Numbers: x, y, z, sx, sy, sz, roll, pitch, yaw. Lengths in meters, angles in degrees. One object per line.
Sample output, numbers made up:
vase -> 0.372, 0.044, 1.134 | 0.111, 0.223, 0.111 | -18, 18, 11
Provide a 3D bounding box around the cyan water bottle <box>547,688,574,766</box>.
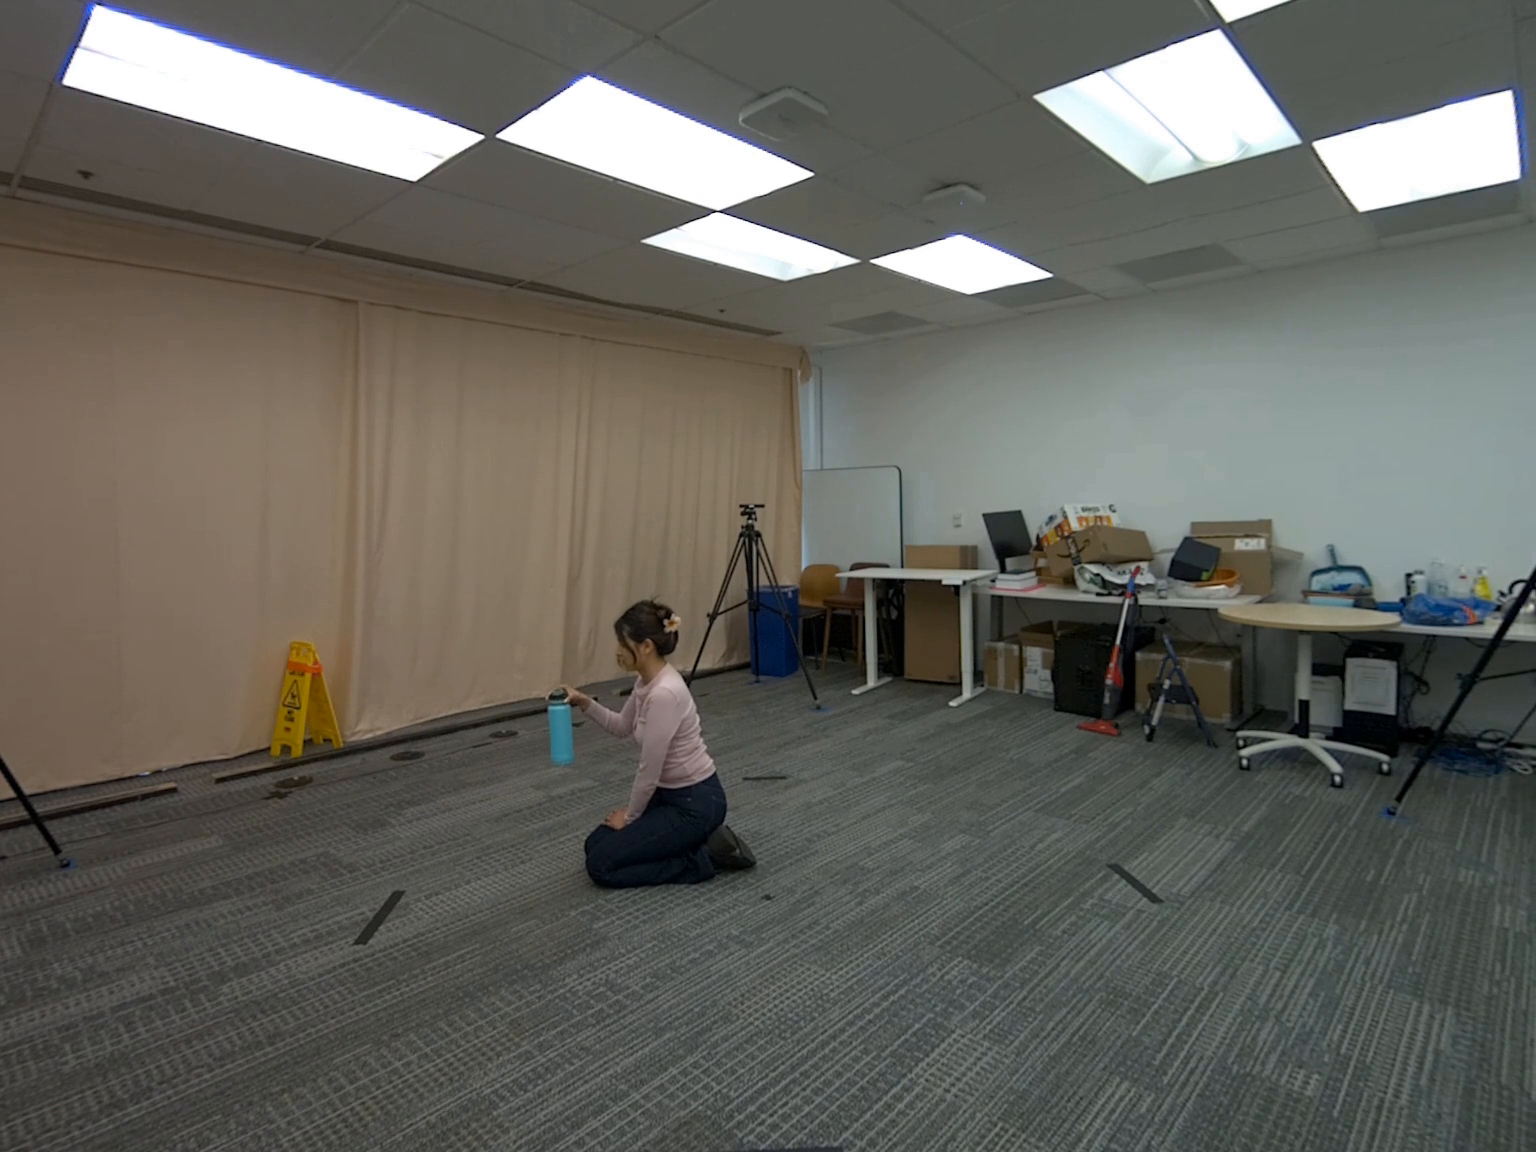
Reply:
cyan water bottle -> -0.810, 0.586, 3.297 | 0.092, 0.283, 0.092 | -3, 3, -2
